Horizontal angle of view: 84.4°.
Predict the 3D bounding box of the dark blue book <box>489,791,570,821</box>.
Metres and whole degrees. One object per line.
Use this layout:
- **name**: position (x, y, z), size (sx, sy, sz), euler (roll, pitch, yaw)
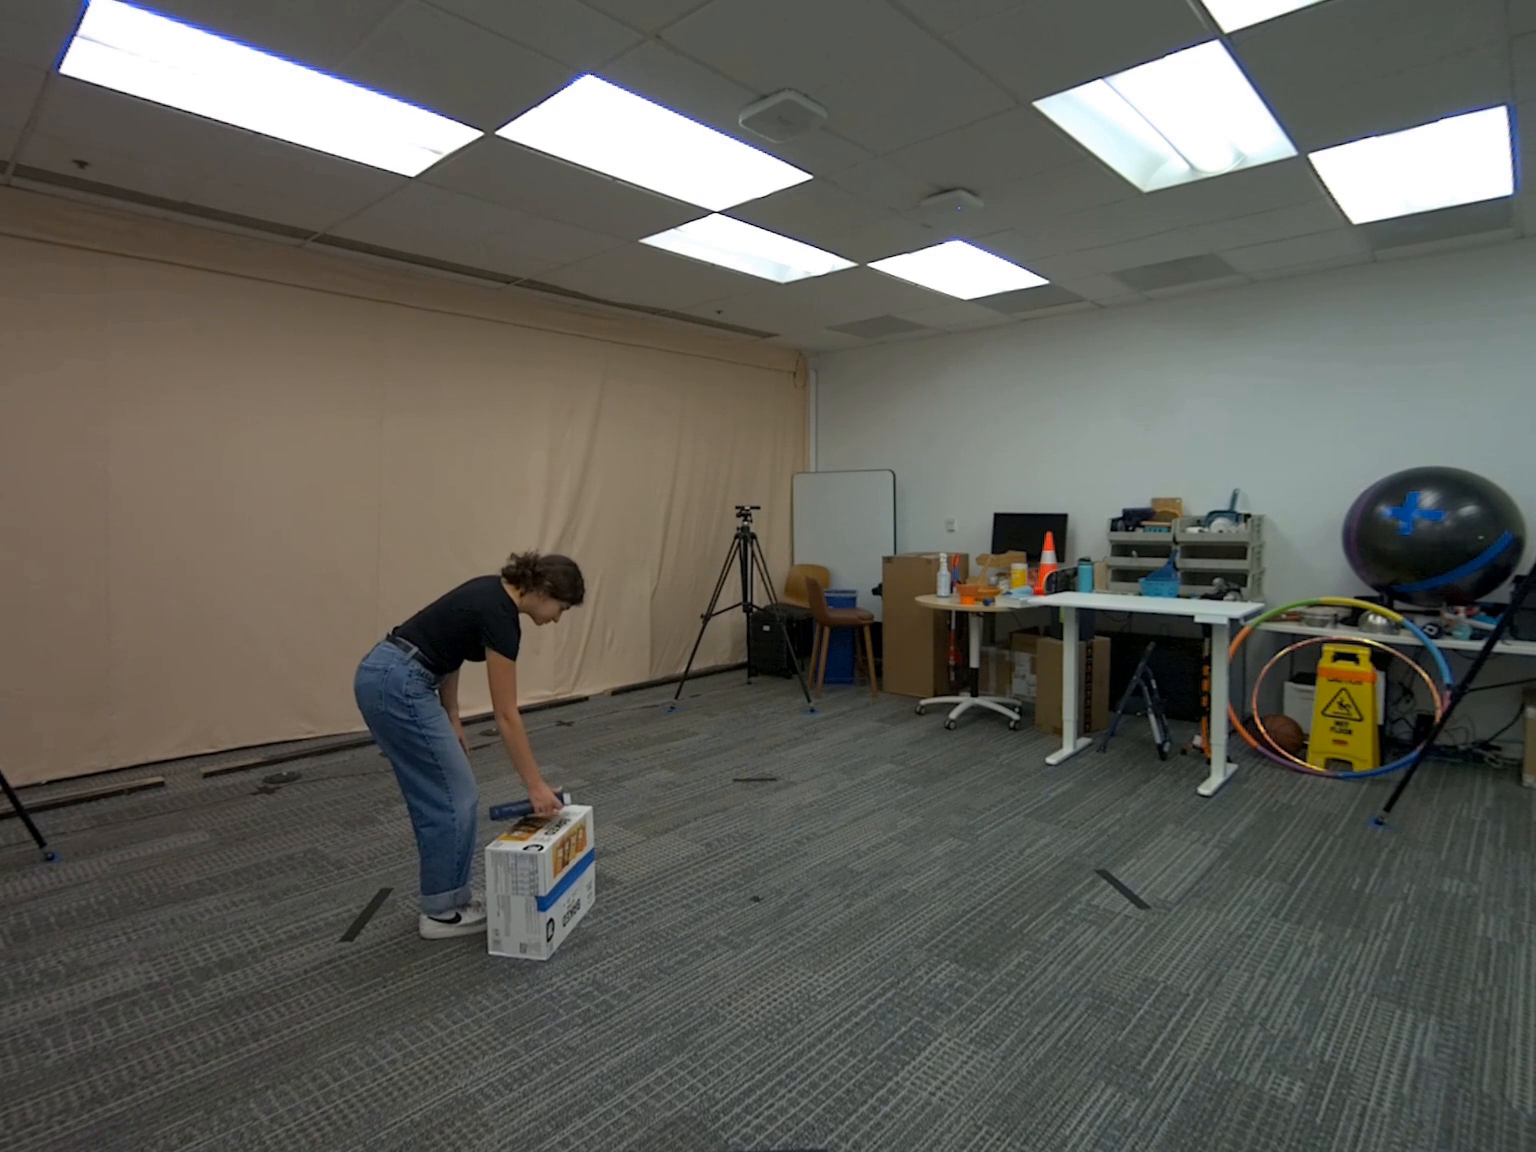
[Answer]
- **dark blue book**: position (-0.798, 0.770, 2.807), size (0.243, 0.046, 0.162), euler (-12, -14, -8)
